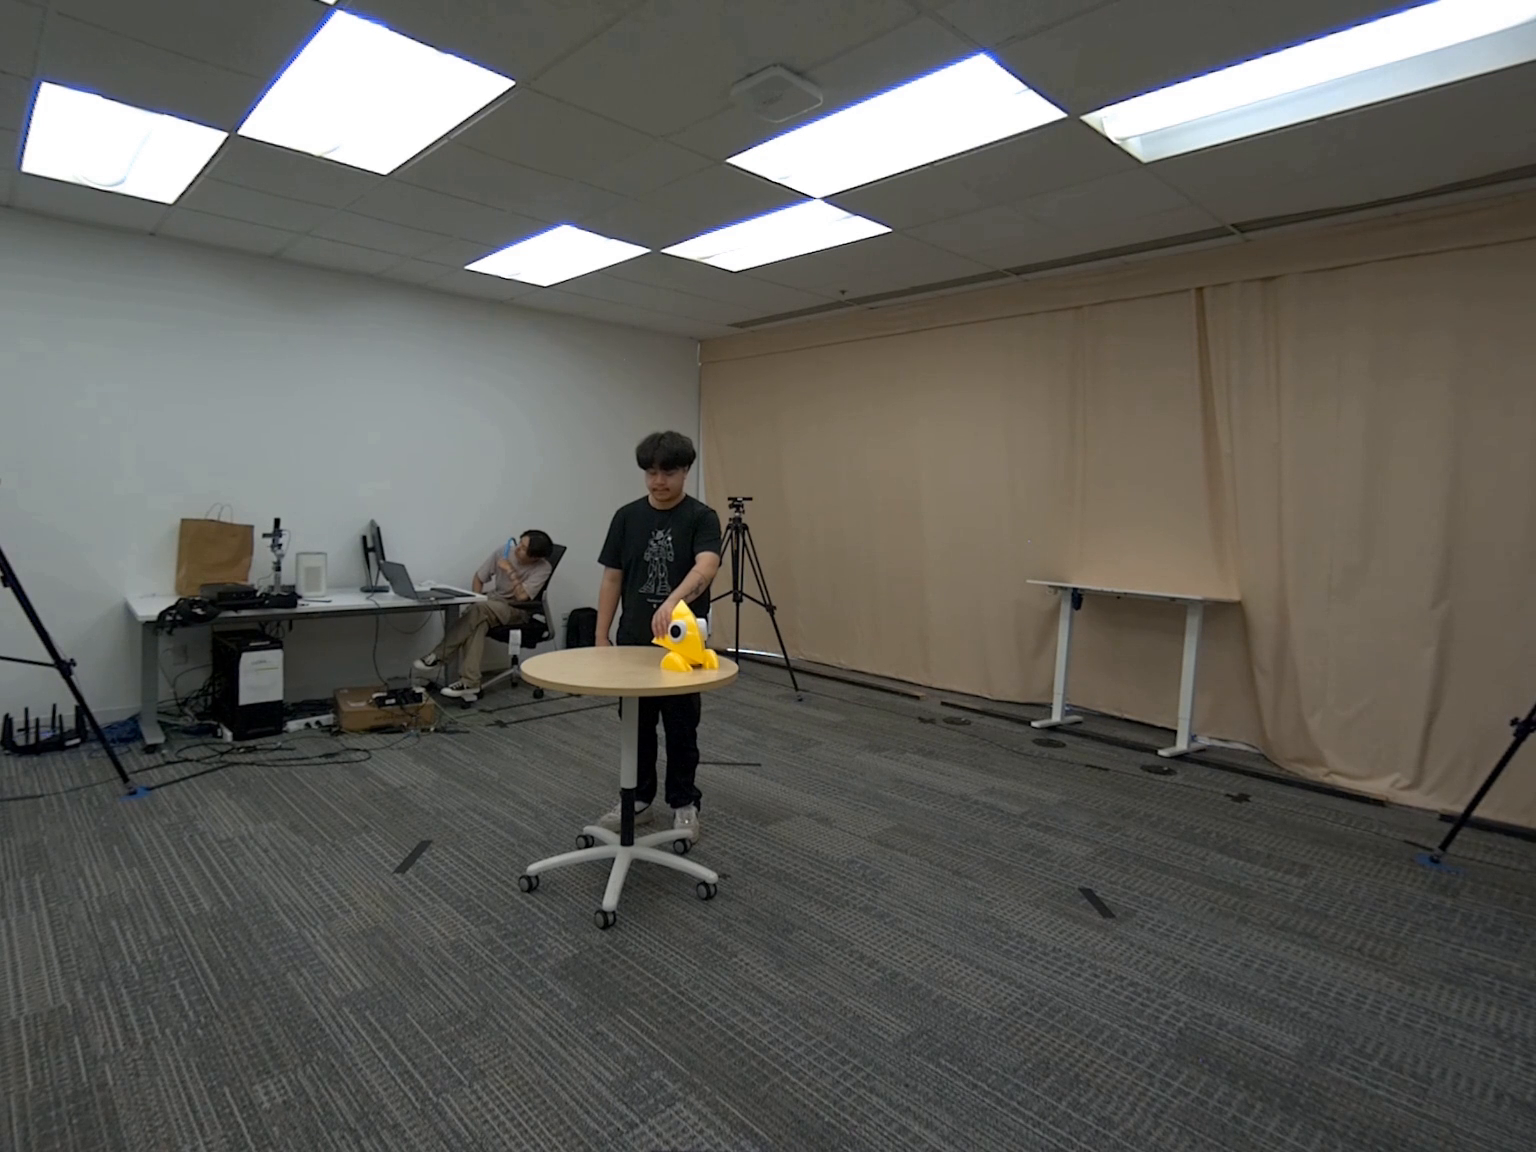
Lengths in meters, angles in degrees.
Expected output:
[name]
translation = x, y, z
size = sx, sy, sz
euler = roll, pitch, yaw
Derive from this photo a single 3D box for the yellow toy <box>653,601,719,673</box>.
[yellow toy]
translation = -0.289, 0.211, 3.003
size = 0.200, 0.230, 0.198
euler = 0, 5, -34
